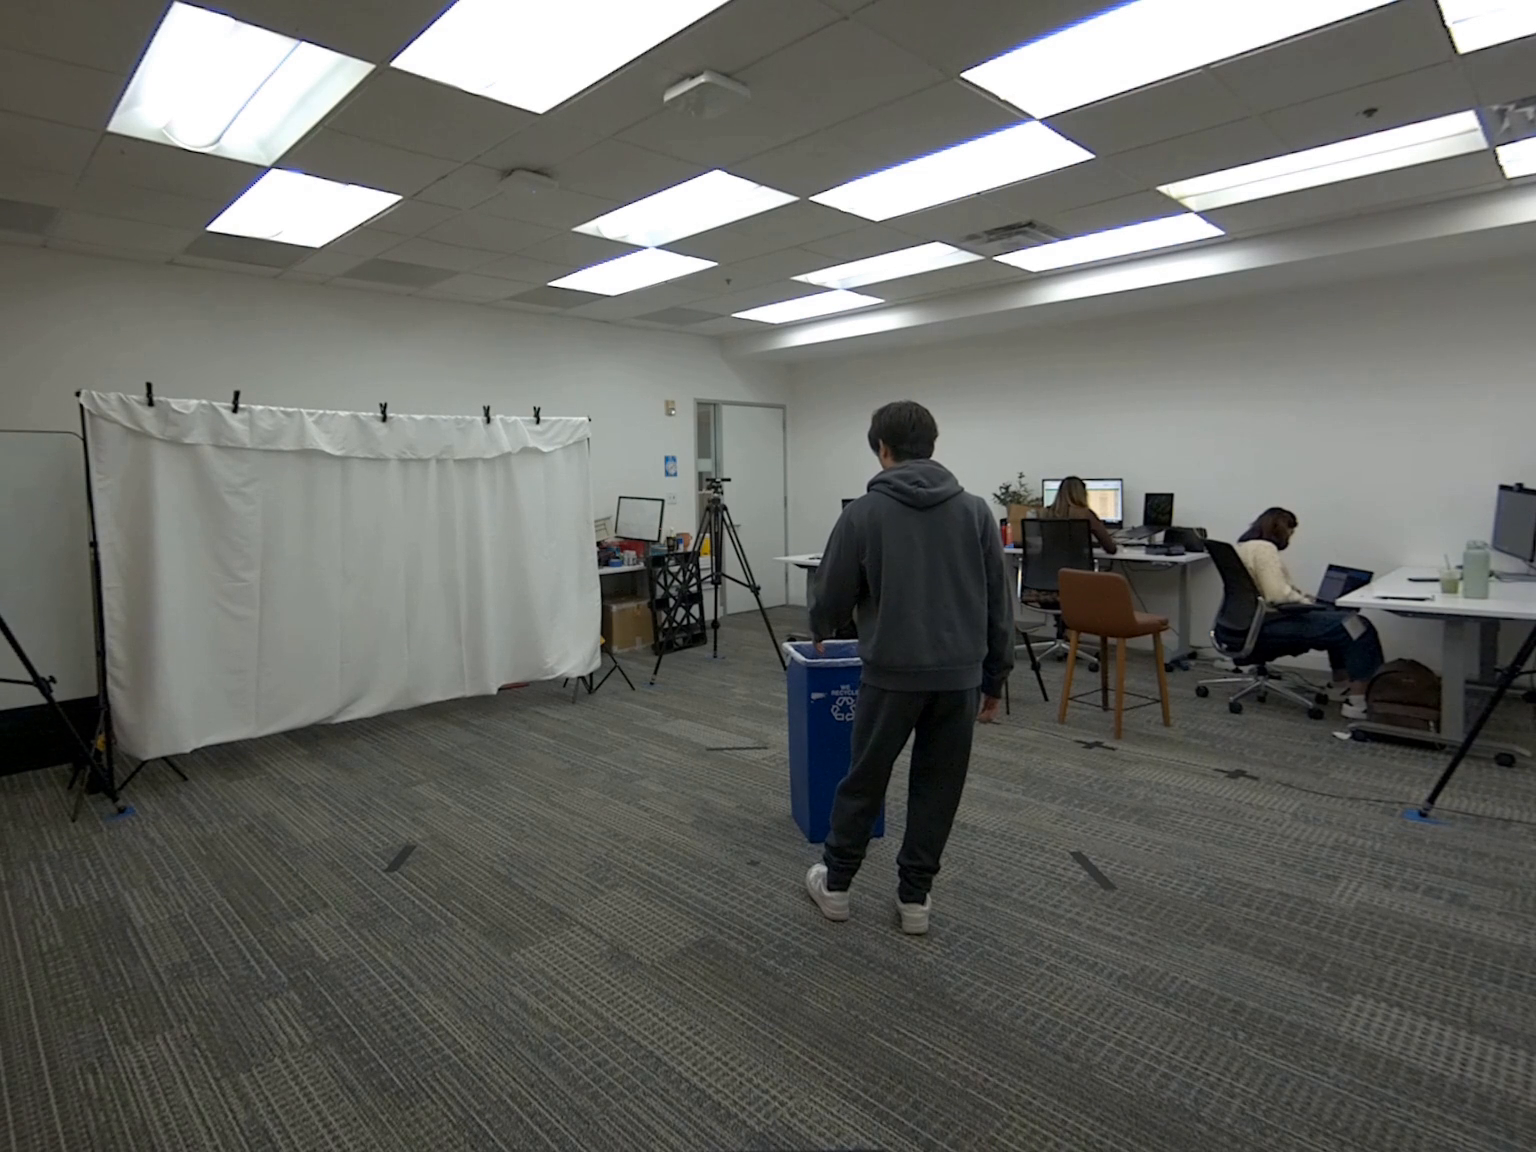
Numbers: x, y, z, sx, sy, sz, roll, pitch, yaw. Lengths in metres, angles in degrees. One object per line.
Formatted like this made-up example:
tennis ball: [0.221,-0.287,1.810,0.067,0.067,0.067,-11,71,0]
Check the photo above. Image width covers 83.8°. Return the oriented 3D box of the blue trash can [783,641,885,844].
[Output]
blue trash can: [0.278,0.642,3.413,0.370,0.710,0.383,-2,5,-11]
